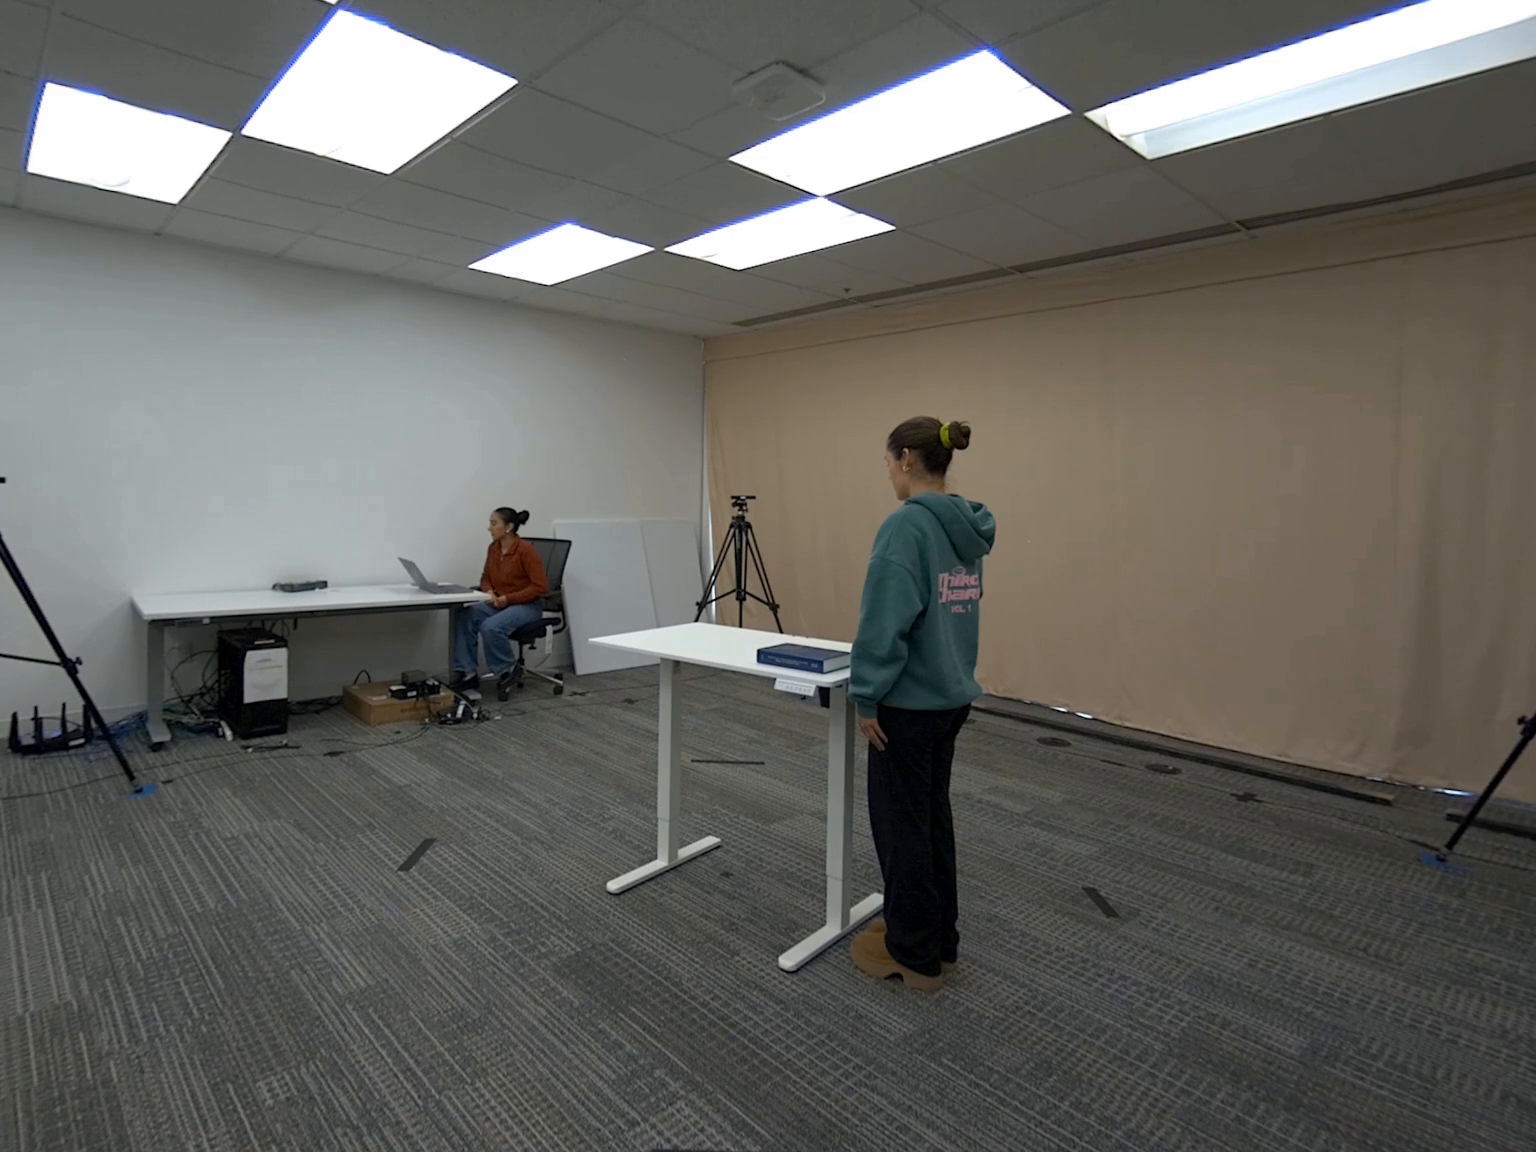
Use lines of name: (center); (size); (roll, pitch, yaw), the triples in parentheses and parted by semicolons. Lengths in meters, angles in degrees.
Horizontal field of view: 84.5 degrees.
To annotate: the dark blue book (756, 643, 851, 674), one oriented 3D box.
dark blue book: (0.095, 0.249, 2.588); (0.251, 0.045, 0.160); (5, 7, 37)
